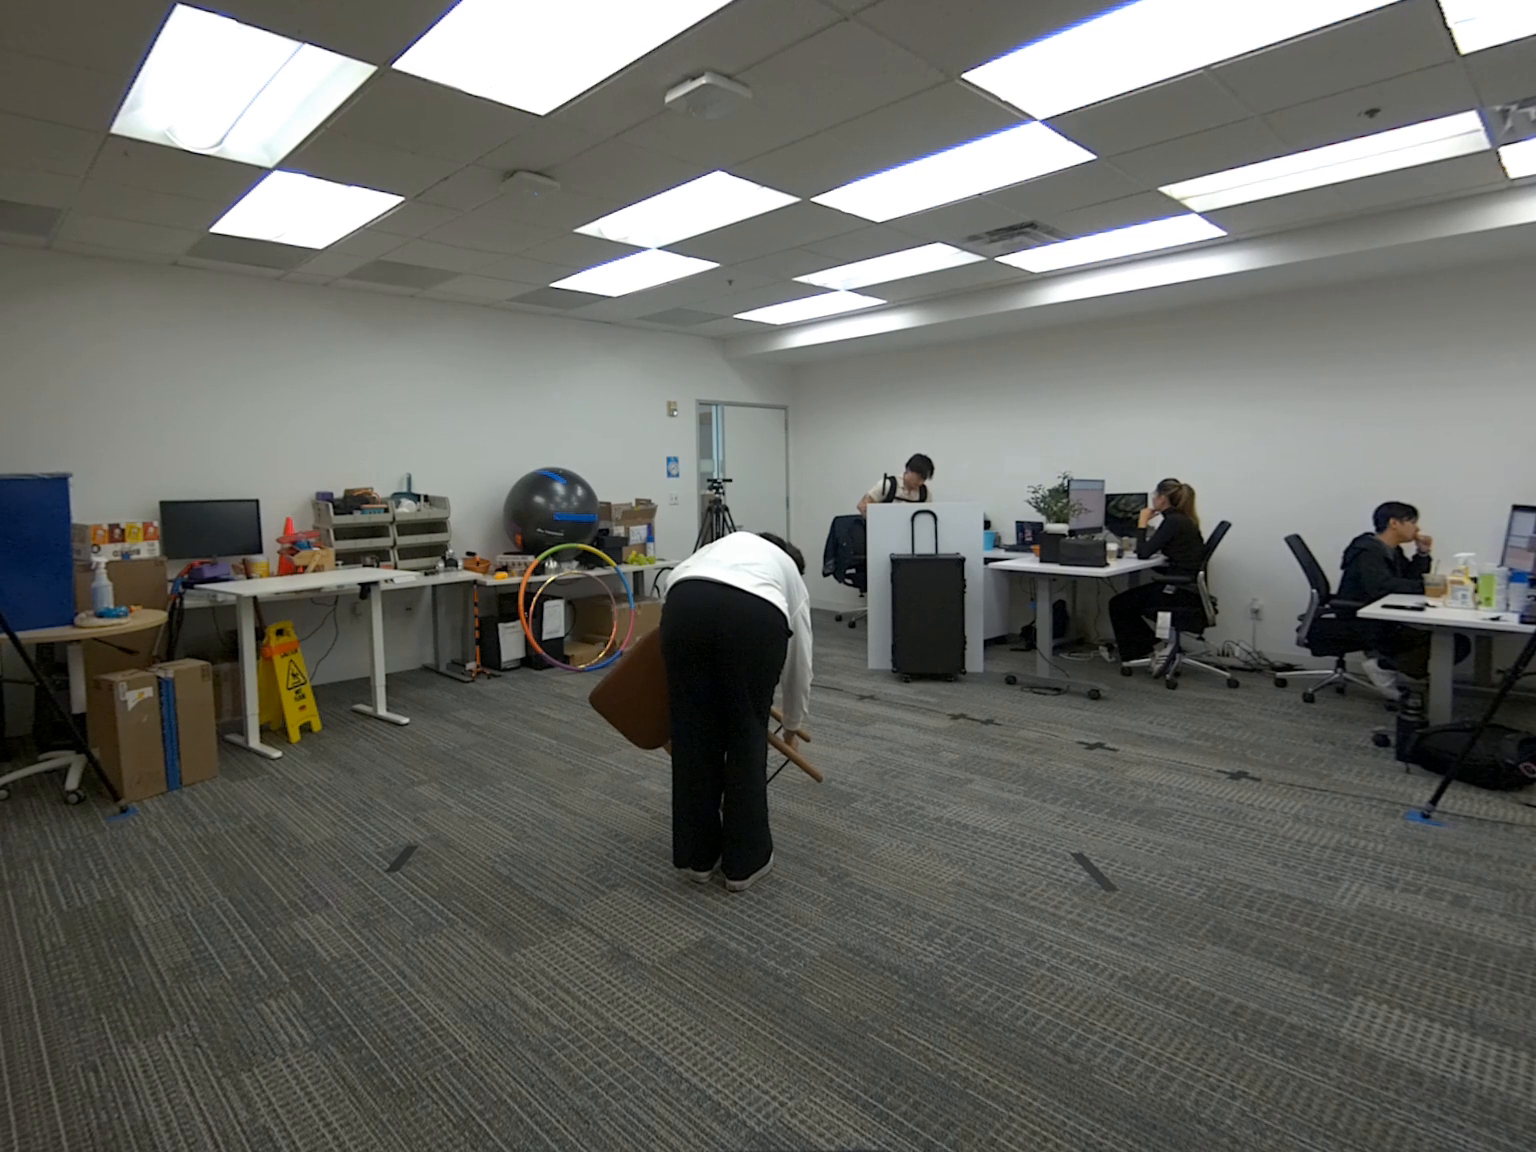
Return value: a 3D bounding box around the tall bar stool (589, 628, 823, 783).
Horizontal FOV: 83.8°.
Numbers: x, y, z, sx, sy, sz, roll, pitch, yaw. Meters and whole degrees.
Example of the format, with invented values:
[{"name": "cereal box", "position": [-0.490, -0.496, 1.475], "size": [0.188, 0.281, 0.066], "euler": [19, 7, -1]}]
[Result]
[{"name": "tall bar stool", "position": [-0.241, 0.578, 3.399], "size": [0.881, 0.456, 0.472], "euler": [43, 3, -8]}]
